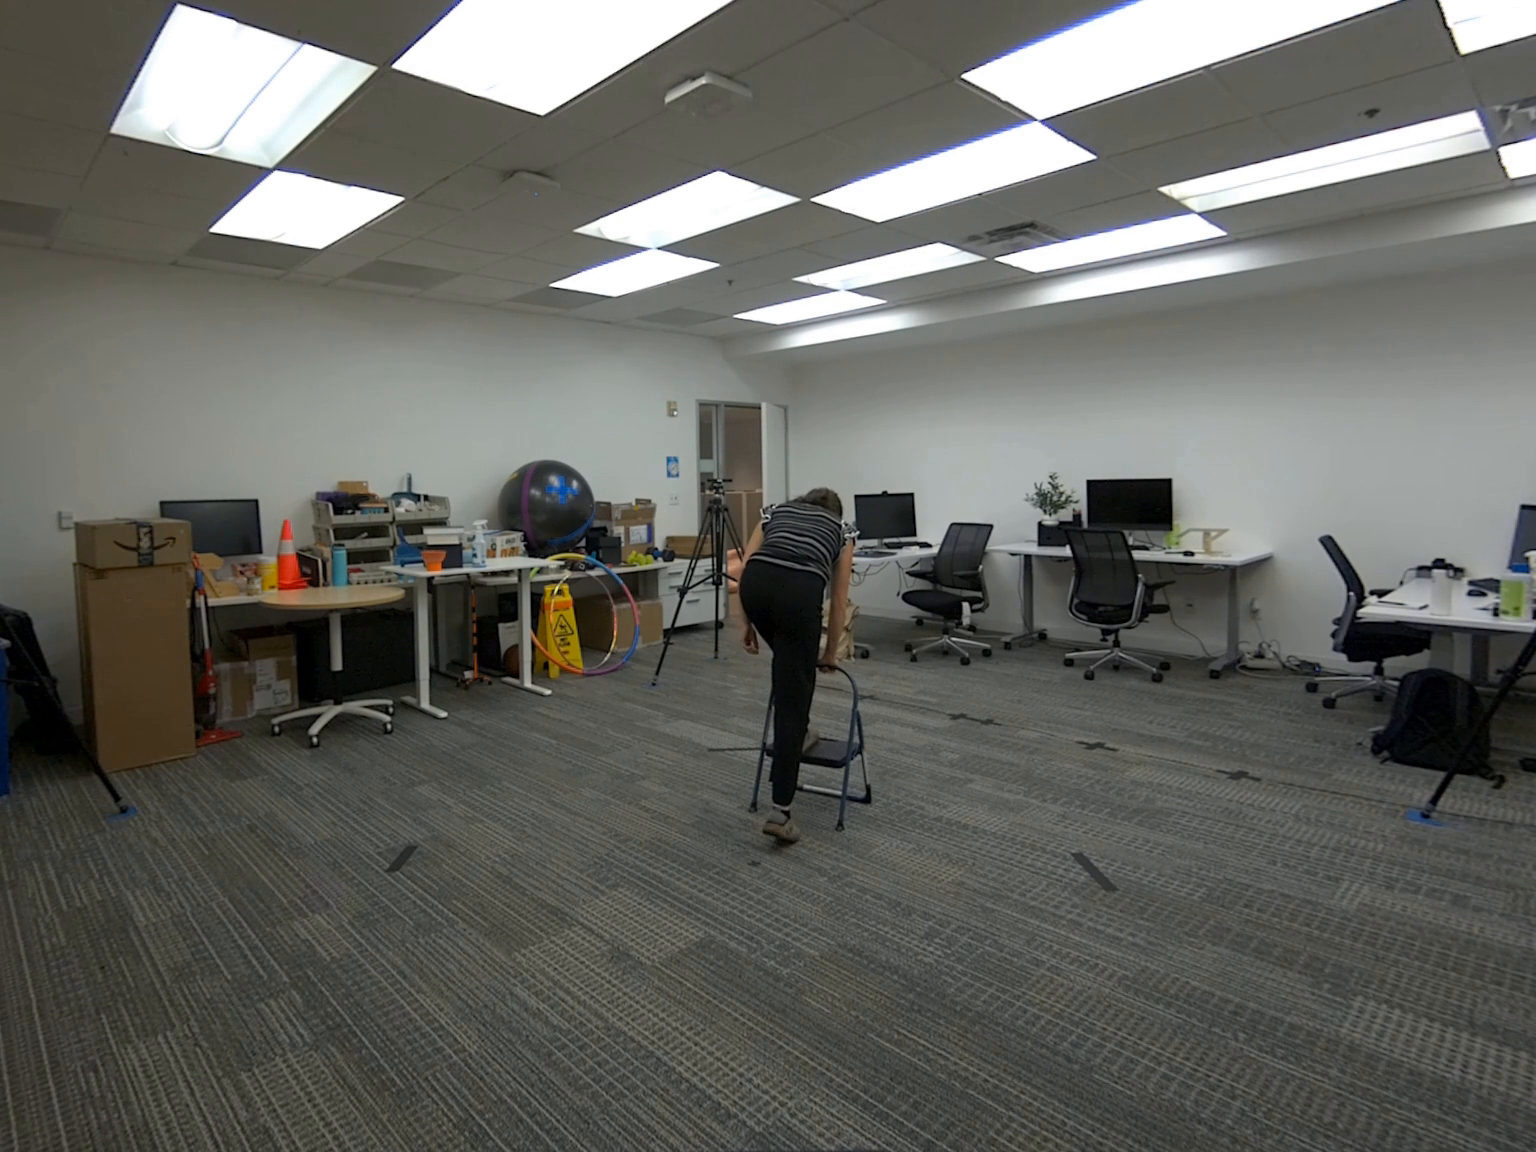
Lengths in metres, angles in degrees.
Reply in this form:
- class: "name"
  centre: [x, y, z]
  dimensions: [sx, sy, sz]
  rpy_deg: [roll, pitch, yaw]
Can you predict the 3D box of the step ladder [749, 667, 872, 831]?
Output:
- class: "step ladder"
  centre: [0.185, 0.683, 3.614]
  dimensions: [0.442, 0.603, 0.341]
  rpy_deg: [2, 5, 30]
